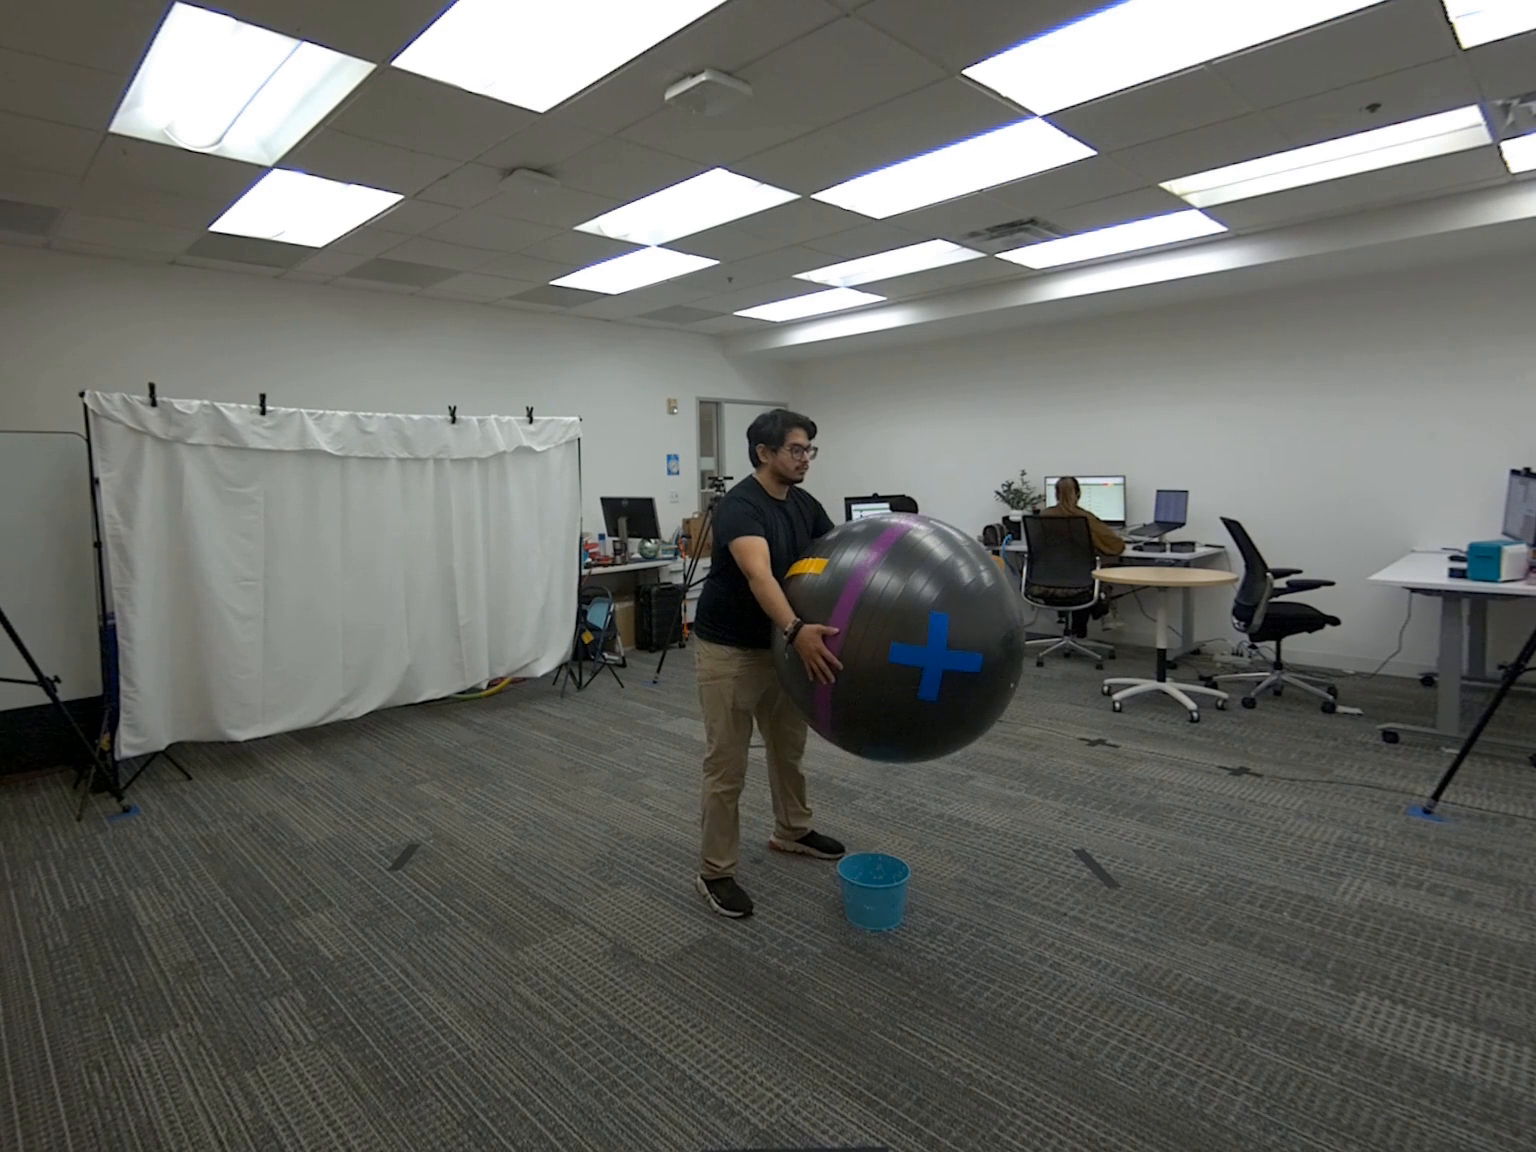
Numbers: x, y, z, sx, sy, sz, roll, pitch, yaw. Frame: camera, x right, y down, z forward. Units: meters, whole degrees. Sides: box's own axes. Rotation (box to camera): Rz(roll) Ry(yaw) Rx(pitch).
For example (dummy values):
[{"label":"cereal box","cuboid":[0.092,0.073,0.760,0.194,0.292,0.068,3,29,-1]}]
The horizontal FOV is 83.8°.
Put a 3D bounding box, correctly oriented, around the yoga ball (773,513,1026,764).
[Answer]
[{"label":"yoga ball","cuboid":[0.391,0.197,2.603,0.757,0.755,0.762,-1,5,-2]}]
